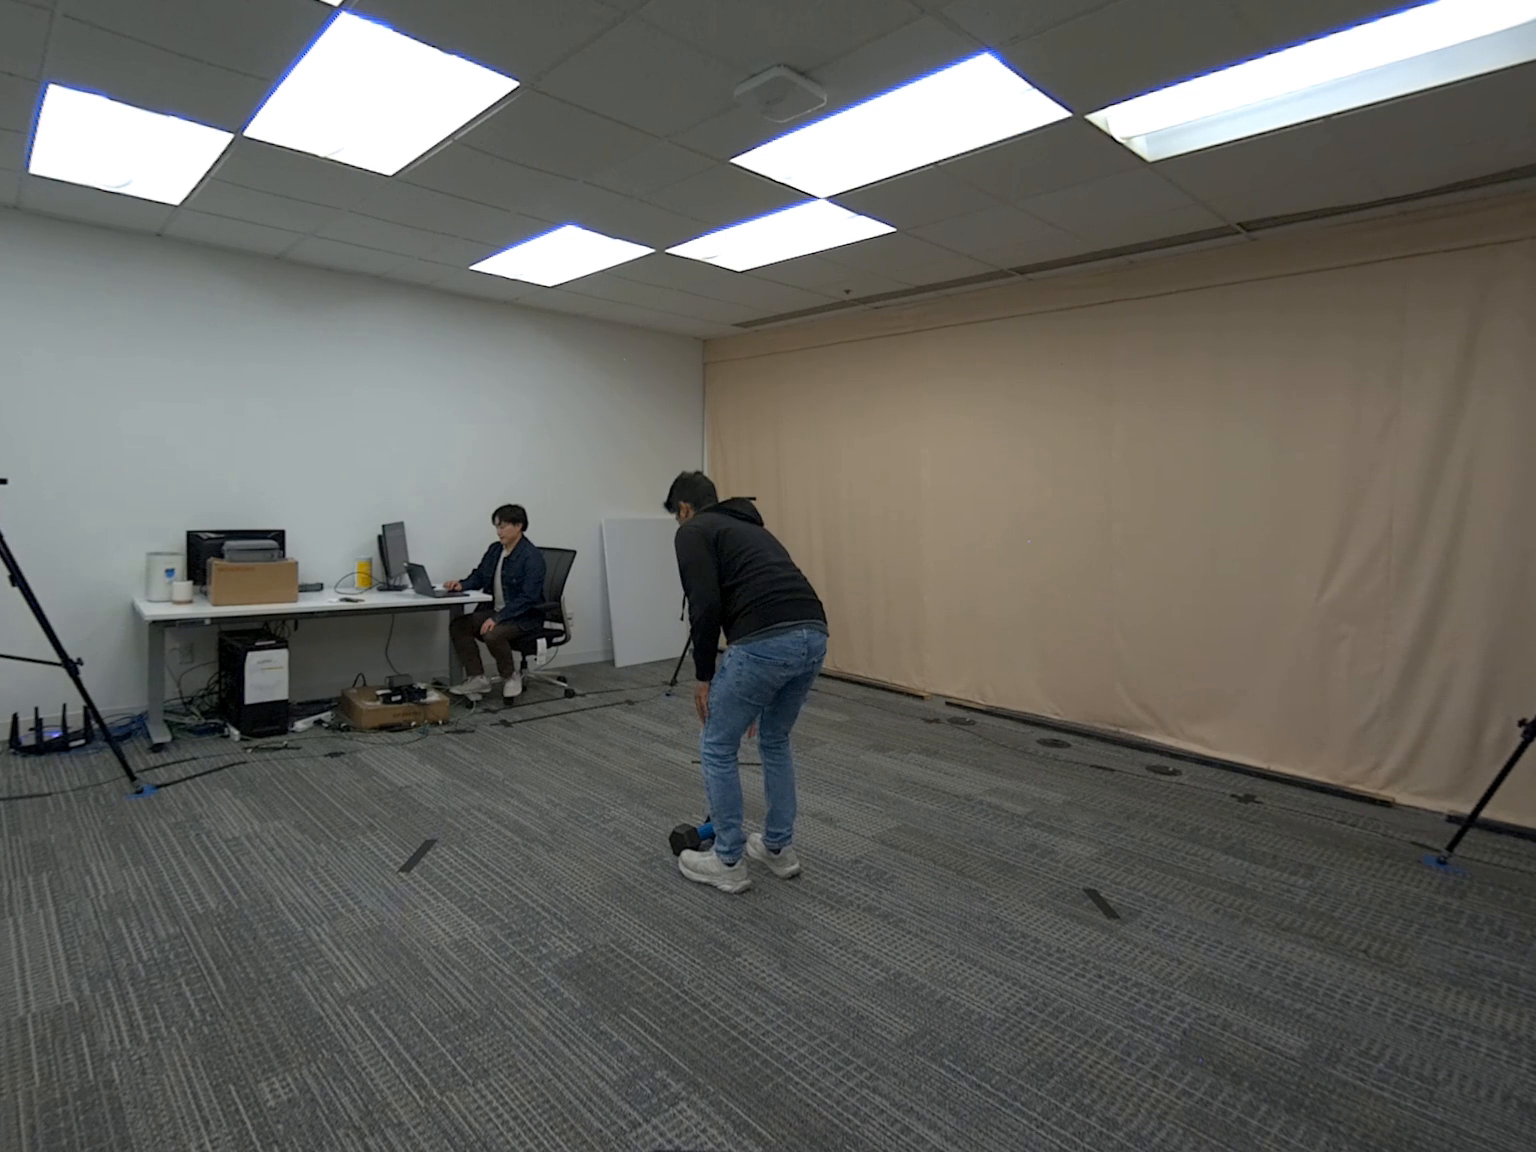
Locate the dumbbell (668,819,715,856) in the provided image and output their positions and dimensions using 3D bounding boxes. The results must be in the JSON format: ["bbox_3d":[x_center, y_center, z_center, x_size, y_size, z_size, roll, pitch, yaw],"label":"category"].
[{"bbox_3d":[-0.266,1.023,3.354,0.109,0.125,0.287,-32,-17,35],"label":"dumbbell"}]
